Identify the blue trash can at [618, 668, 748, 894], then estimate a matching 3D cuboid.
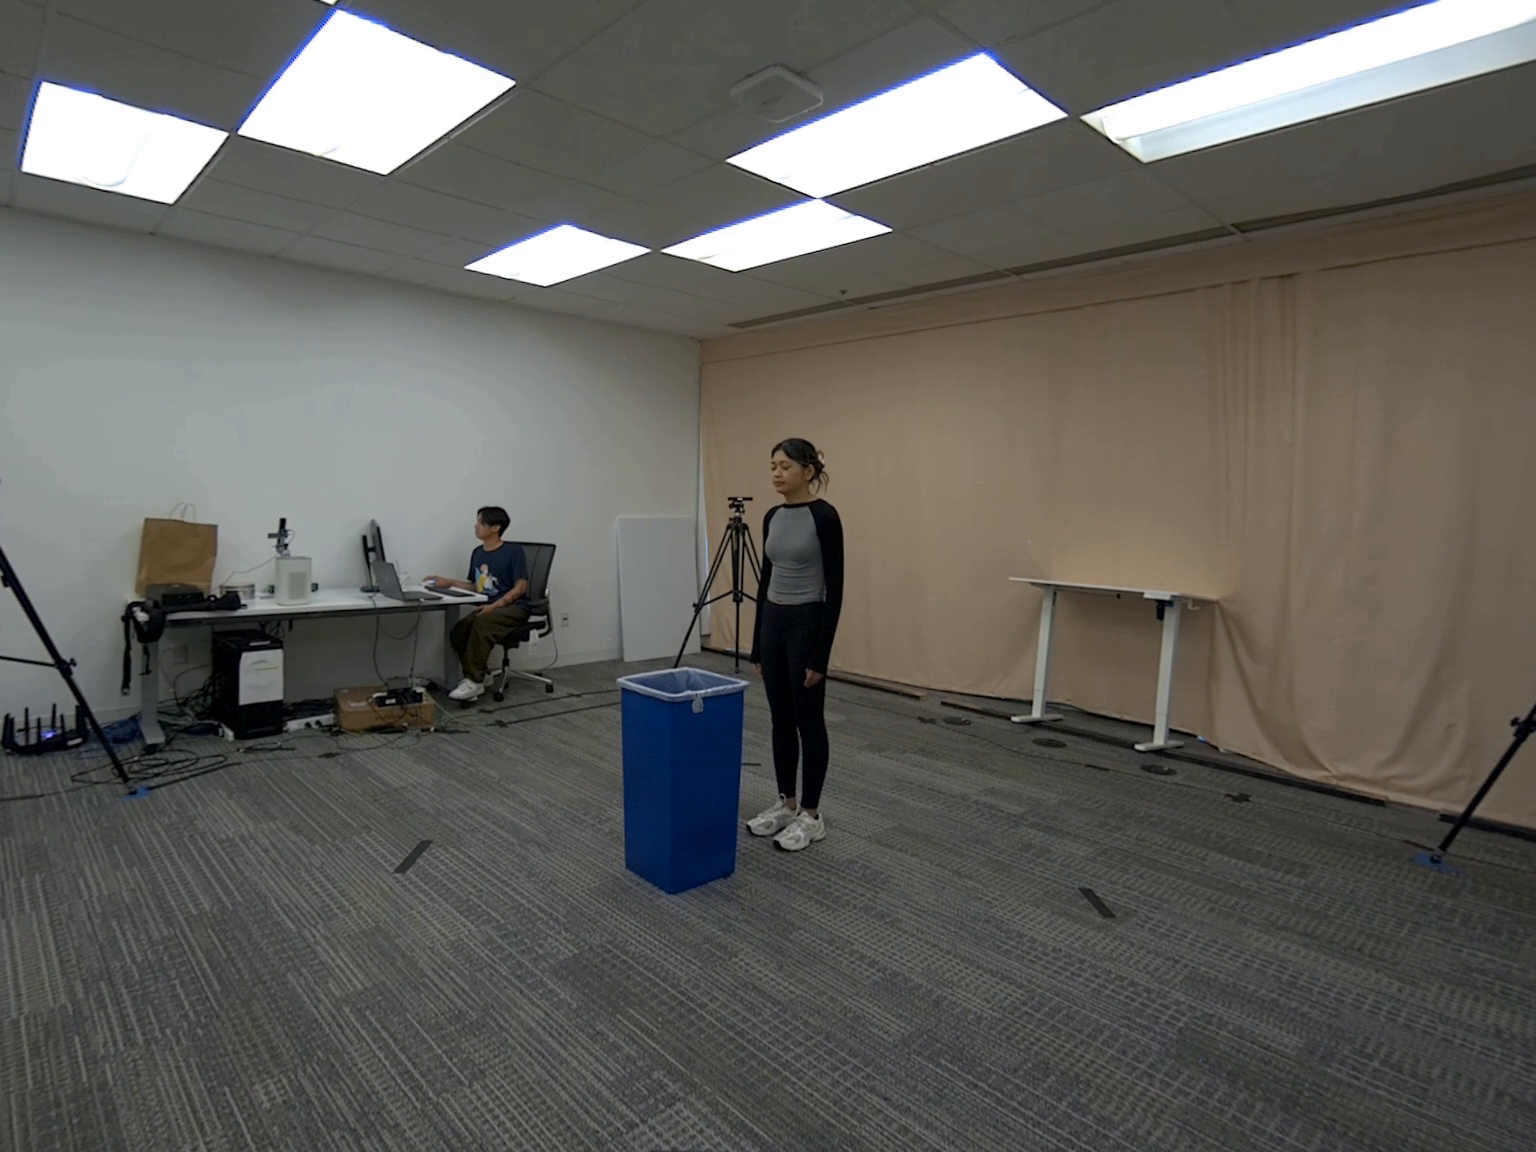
[{"bbox_3d":[-0.336,0.743,3.134,0.369,0.712,0.383,-1,4,-42],"label":"blue trash can"}]
